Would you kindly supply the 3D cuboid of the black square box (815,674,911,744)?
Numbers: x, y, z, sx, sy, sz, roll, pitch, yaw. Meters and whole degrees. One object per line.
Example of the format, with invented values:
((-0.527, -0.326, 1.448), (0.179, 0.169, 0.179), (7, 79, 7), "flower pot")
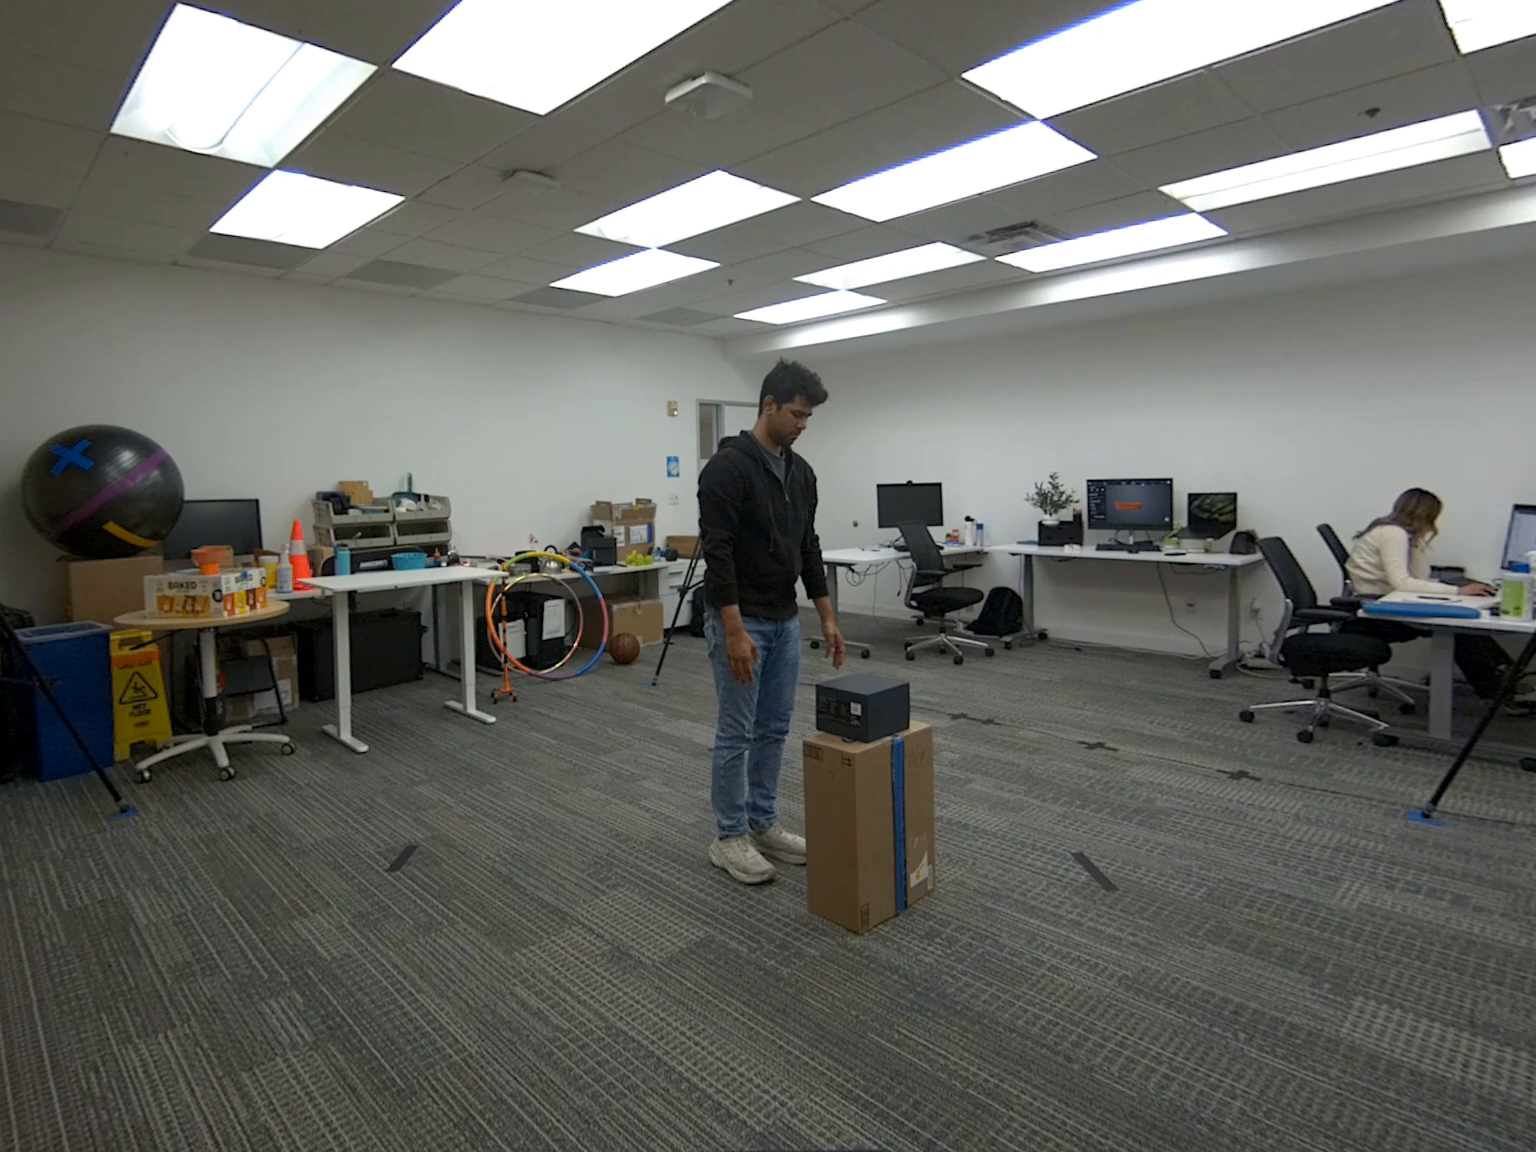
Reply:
((0.322, 0.428, 2.805), (0.222, 0.155, 0.223), (-6, 7, -43), "black square box")
